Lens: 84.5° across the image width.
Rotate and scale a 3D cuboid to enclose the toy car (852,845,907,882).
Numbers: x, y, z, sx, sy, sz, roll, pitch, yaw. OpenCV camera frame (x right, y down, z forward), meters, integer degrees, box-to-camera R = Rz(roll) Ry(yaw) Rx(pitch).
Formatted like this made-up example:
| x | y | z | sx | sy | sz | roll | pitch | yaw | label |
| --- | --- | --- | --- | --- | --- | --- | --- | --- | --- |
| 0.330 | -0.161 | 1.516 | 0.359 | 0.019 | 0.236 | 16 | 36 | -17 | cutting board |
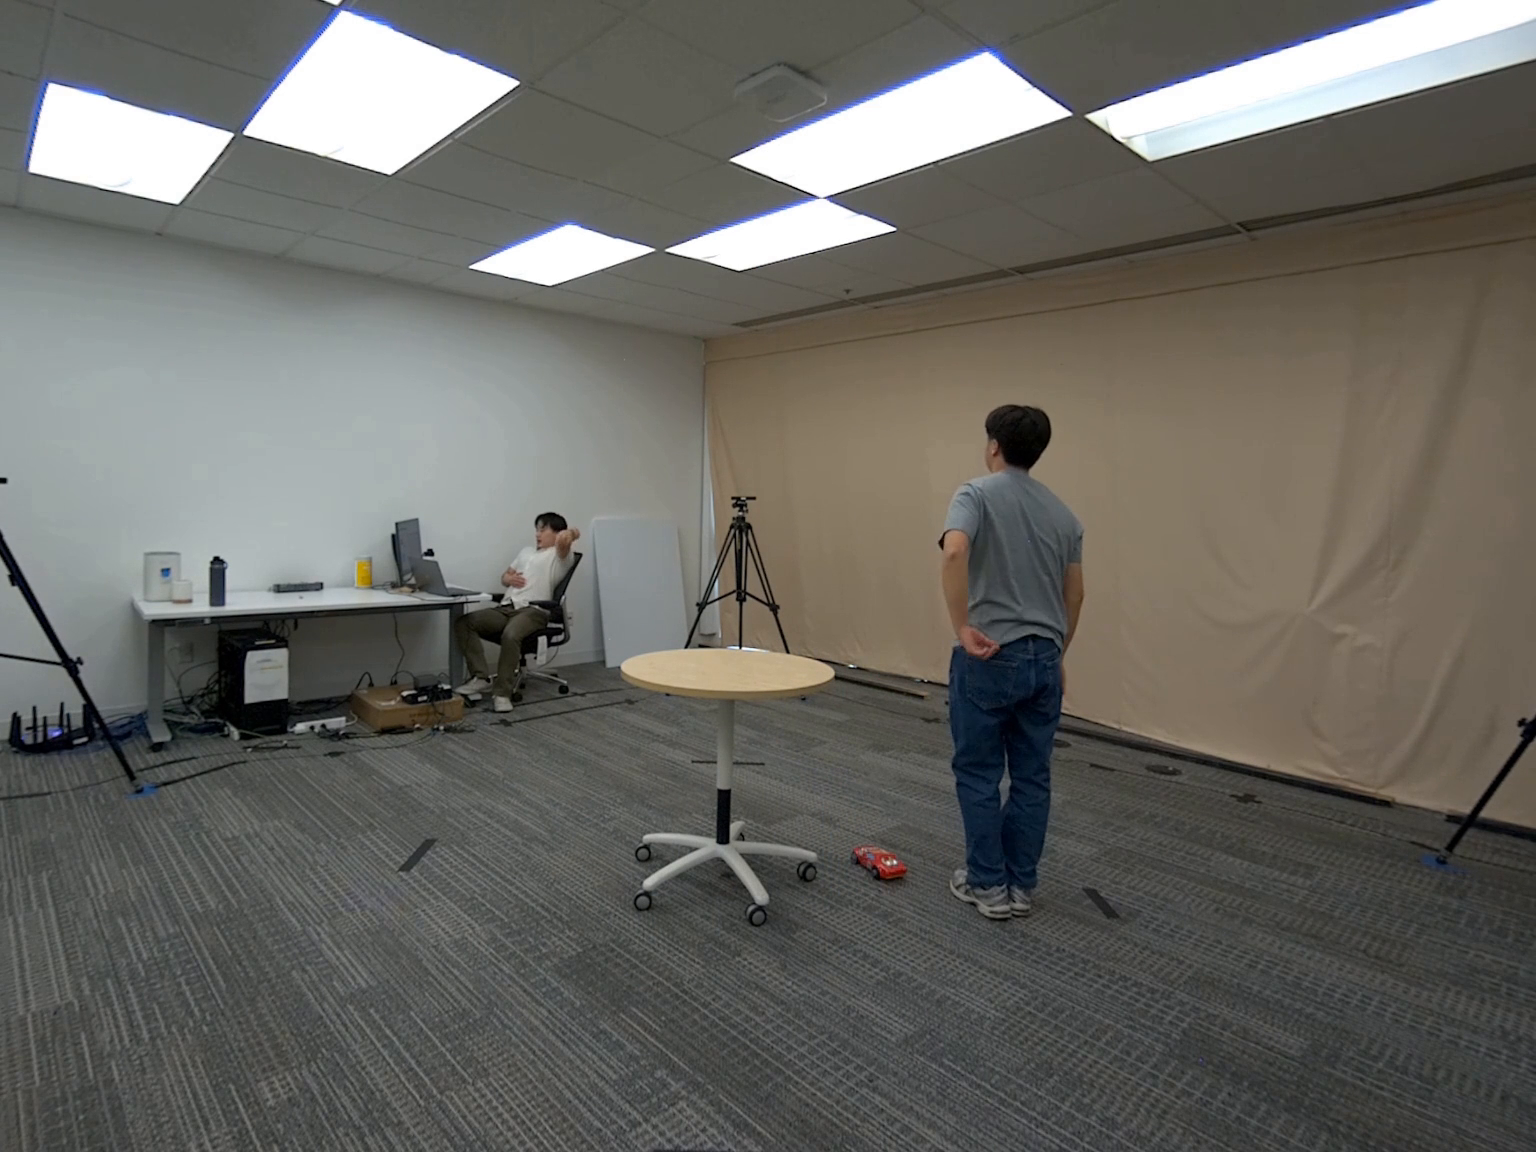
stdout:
| x | y | z | sx | sy | sz | roll | pitch | yaw | label |
| --- | --- | --- | --- | --- | --- | --- | --- | --- | --- |
| 0.417 | 1.083 | 3.168 | 0.128 | 0.083 | 0.258 | 0 | -5 | -25 | toy car |
